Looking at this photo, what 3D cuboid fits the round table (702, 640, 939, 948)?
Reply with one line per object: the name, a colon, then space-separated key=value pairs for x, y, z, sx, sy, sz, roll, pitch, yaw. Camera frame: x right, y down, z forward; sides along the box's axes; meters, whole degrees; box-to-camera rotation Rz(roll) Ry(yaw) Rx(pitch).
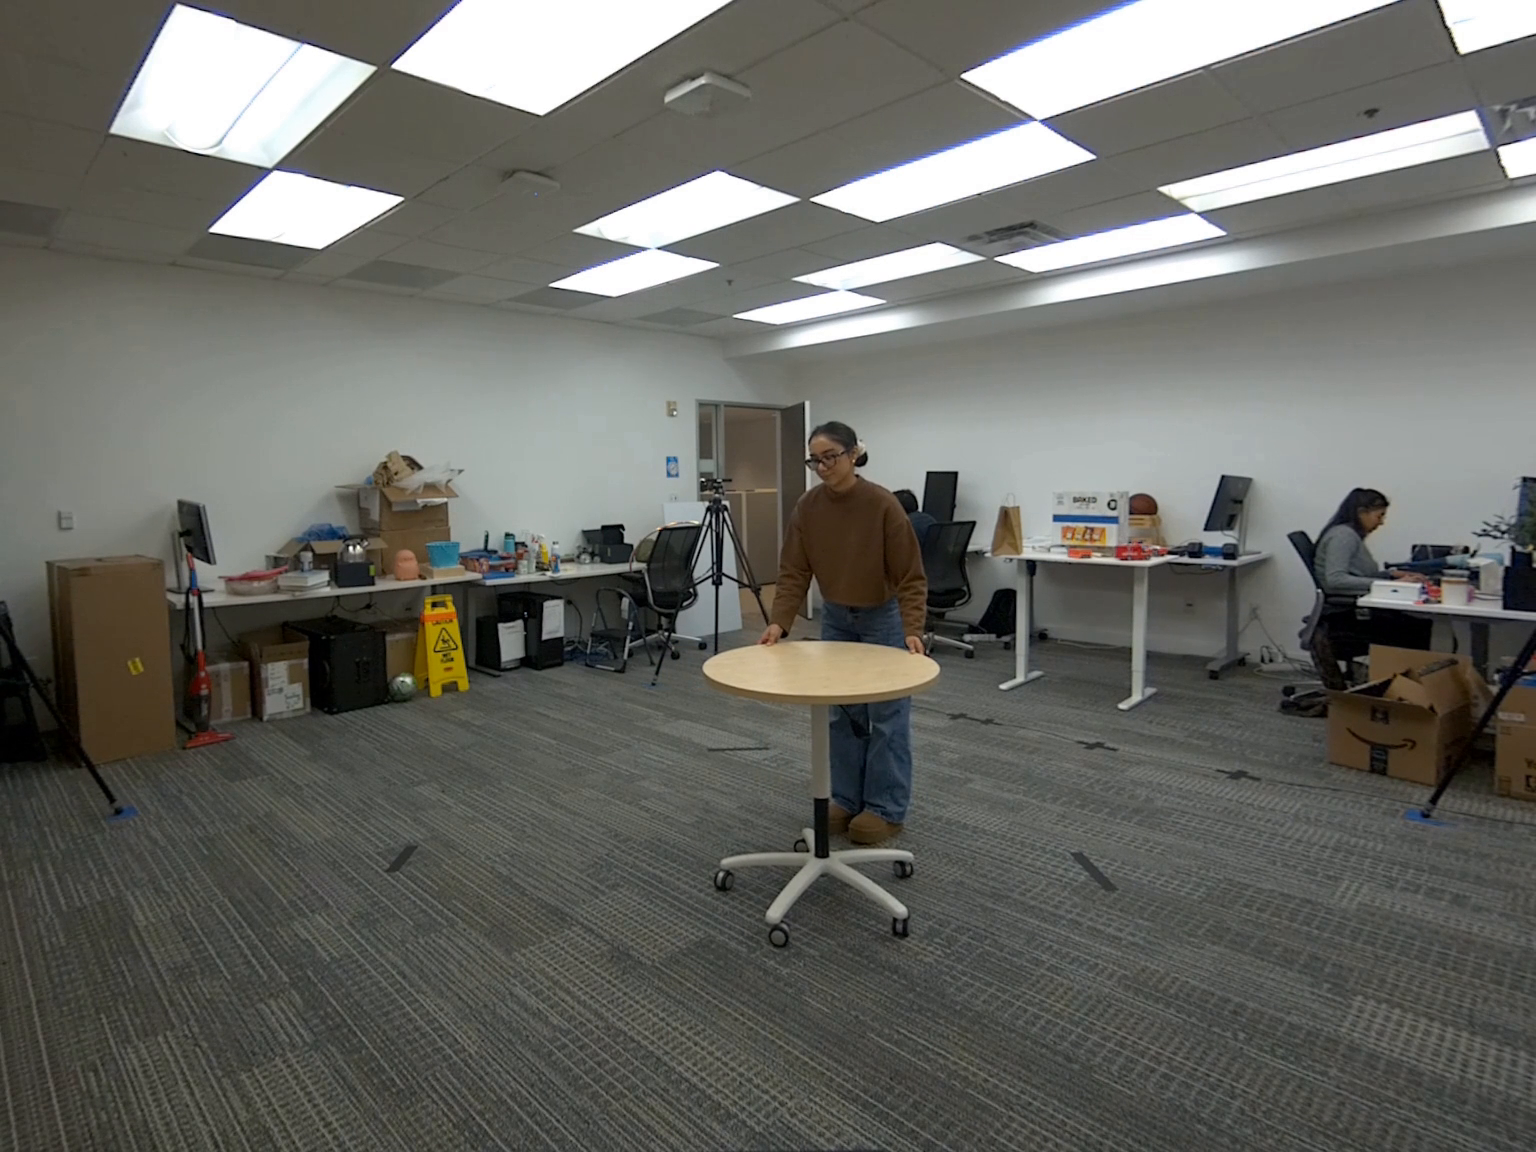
round table: x=0.172 y=0.682 z=2.830 sx=0.763 sy=0.790 sz=0.768 roll=-1 pitch=5 yaw=-2
